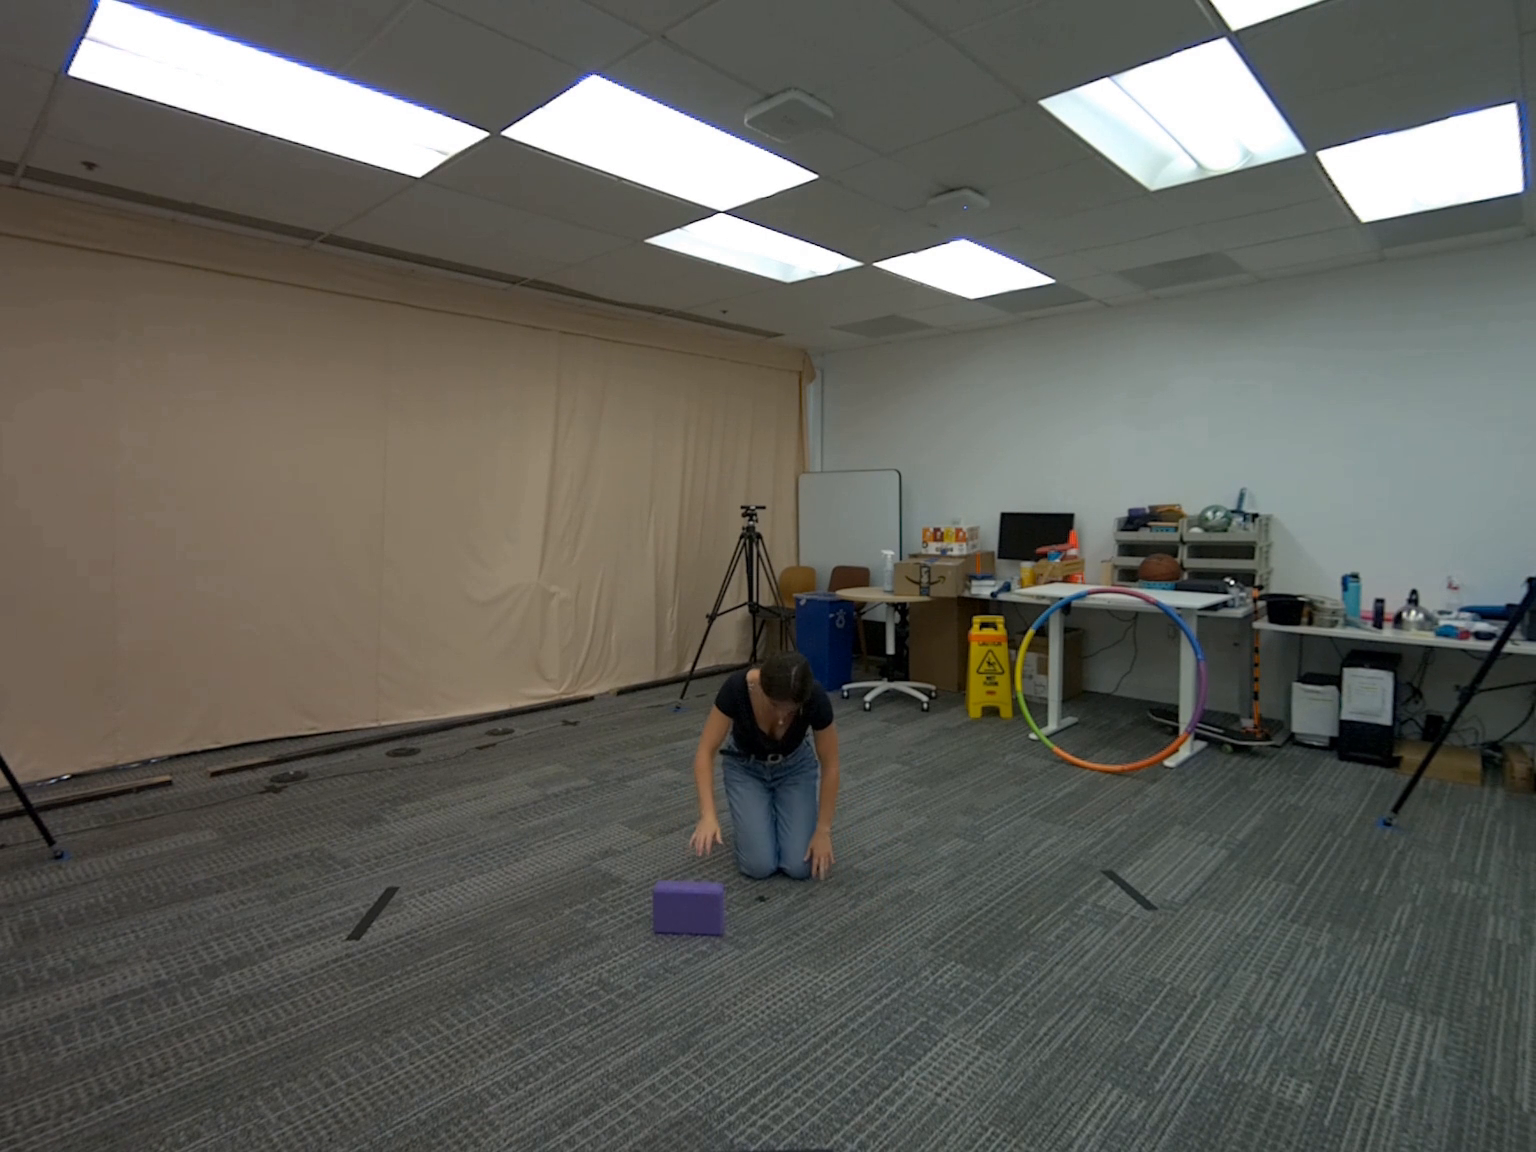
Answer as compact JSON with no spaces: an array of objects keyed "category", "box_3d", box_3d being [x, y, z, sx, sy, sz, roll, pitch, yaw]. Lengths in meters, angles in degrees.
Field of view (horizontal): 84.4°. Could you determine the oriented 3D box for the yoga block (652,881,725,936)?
[{"category":"yoga block","box_3d":[-0.251,1.087,2.760,0.231,0.148,0.076,1,4,6]}]
